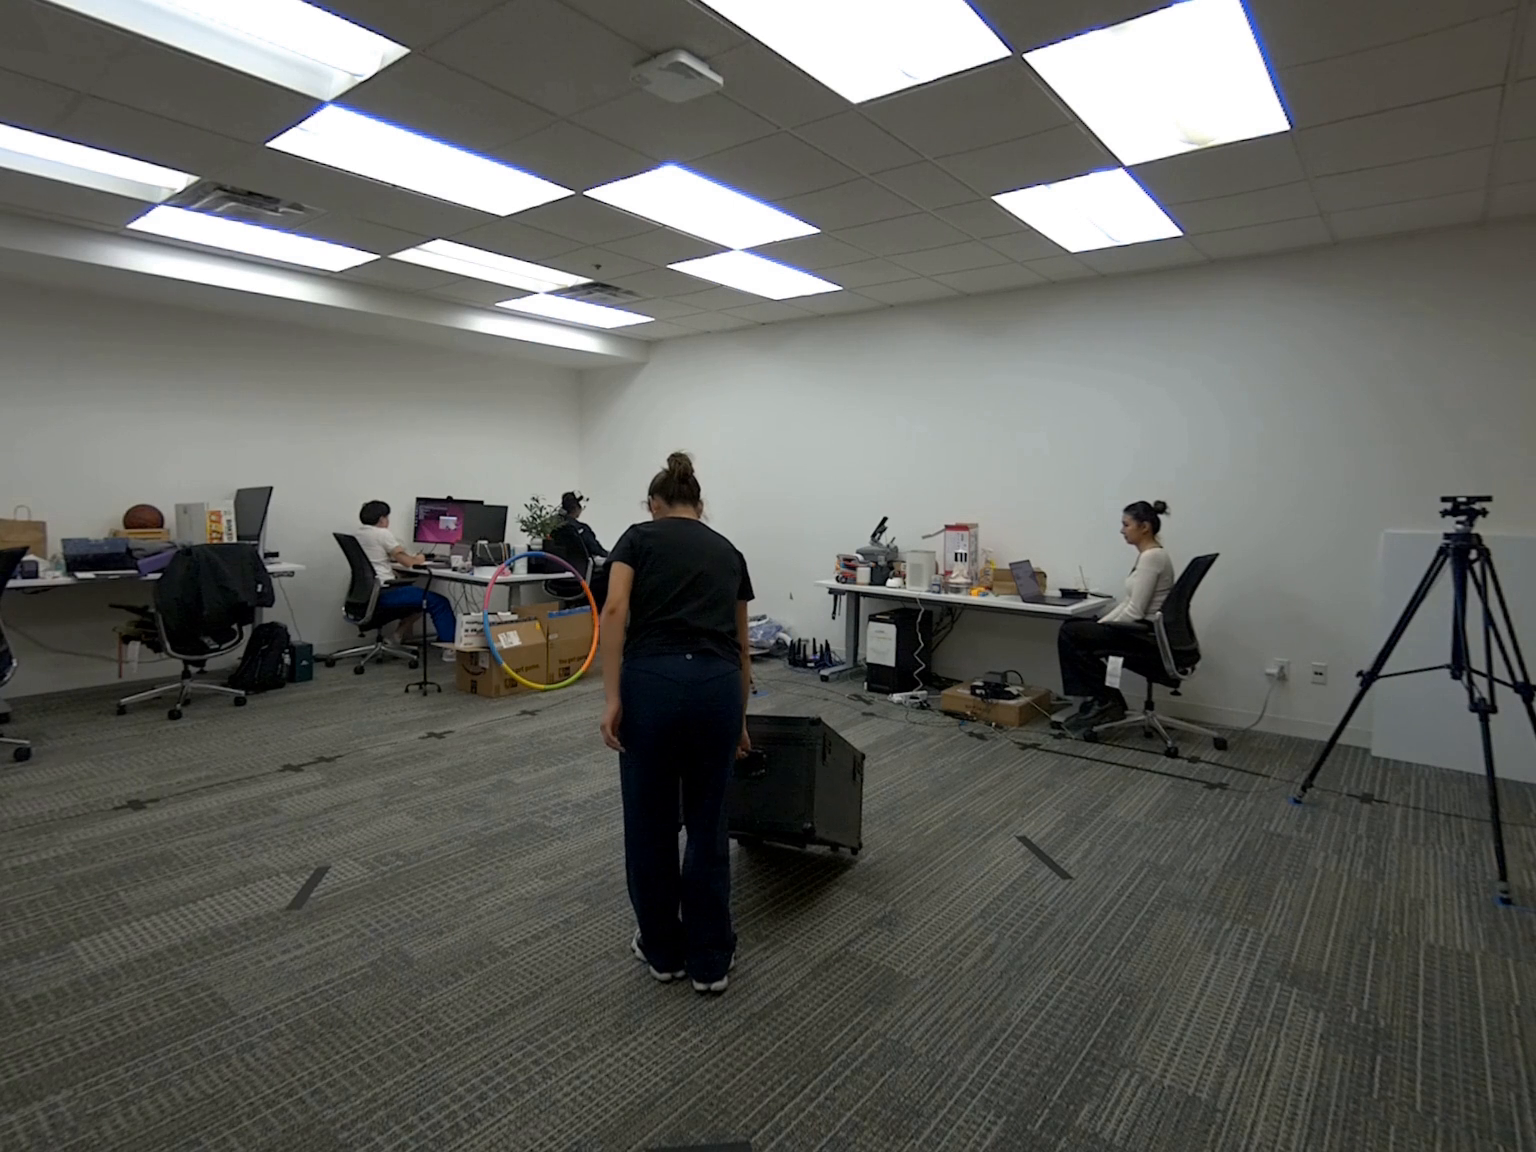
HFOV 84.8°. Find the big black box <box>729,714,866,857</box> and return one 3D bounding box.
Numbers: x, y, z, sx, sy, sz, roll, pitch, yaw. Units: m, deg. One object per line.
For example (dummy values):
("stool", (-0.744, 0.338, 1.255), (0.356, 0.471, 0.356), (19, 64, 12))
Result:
("big black box", (0.057, 0.759, 3.062), (0.532, 0.403, 0.830), (0, -21, 19))
